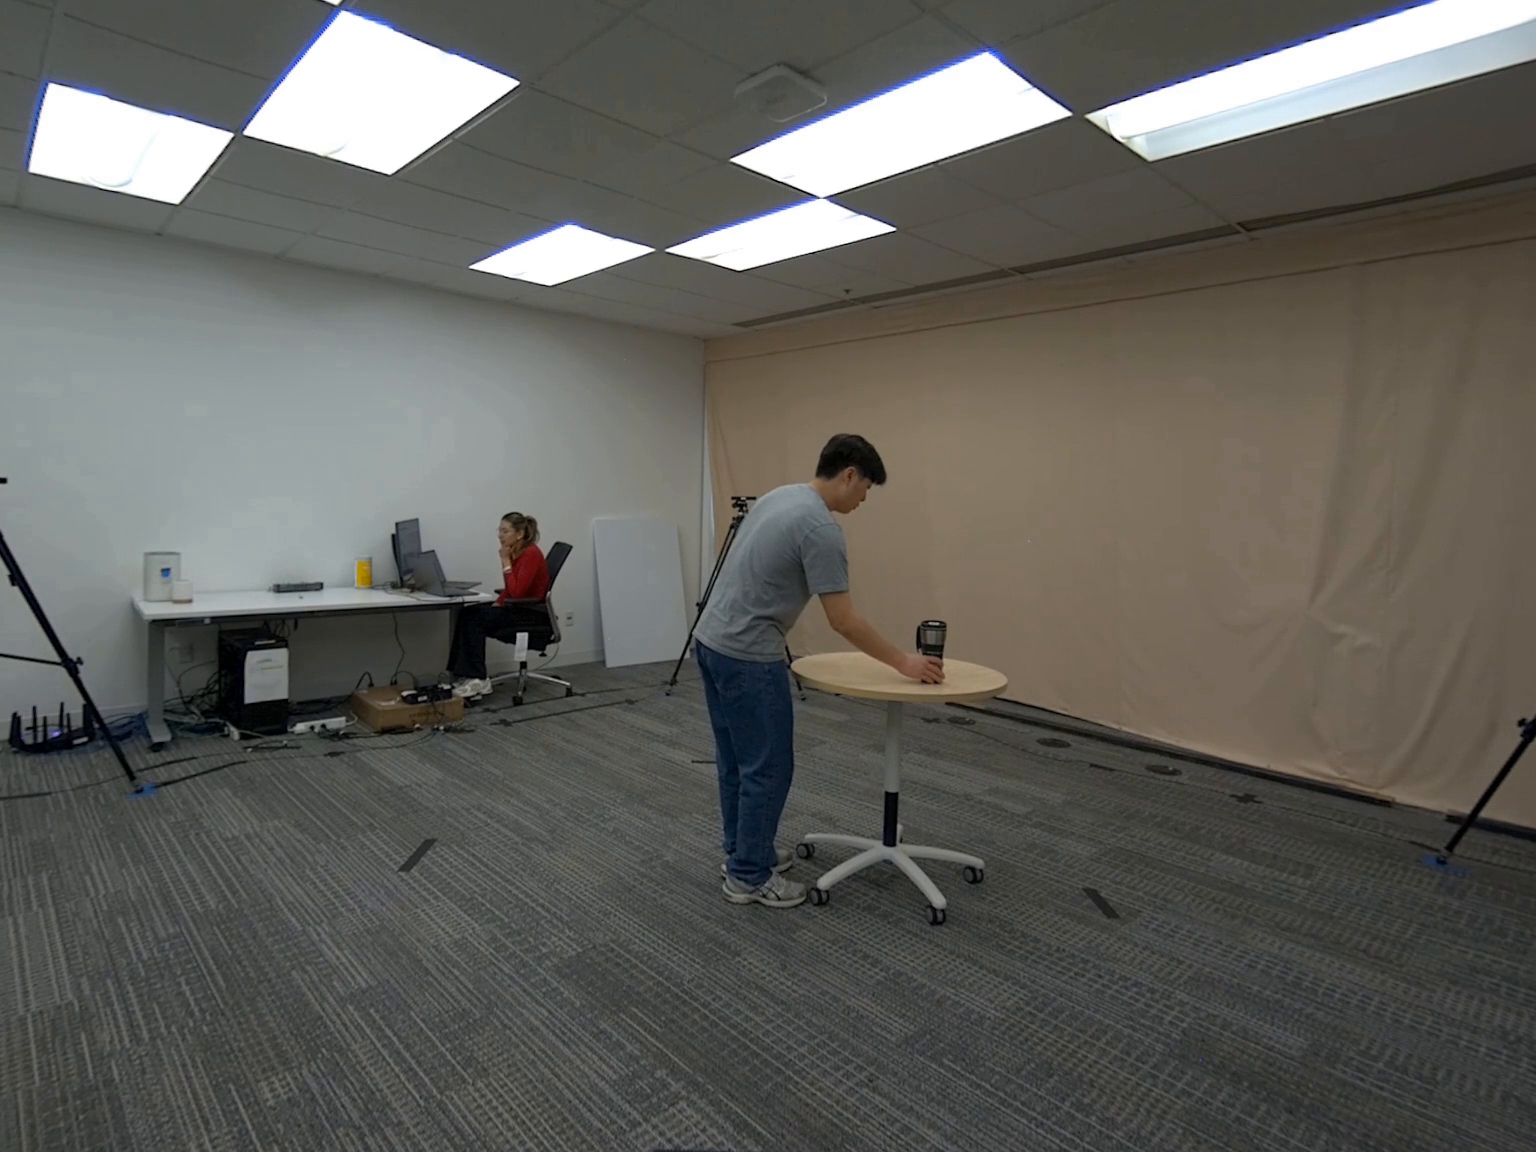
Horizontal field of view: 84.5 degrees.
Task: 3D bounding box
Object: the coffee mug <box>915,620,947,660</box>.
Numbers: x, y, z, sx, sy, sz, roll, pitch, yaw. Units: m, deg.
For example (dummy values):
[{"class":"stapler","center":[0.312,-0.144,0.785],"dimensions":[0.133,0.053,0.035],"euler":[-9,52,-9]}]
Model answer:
[{"class":"coffee mug","center":[0.563,0.258,2.880],"dimensions":[0.089,0.202,0.121],"euler":[0,7,12]}]
